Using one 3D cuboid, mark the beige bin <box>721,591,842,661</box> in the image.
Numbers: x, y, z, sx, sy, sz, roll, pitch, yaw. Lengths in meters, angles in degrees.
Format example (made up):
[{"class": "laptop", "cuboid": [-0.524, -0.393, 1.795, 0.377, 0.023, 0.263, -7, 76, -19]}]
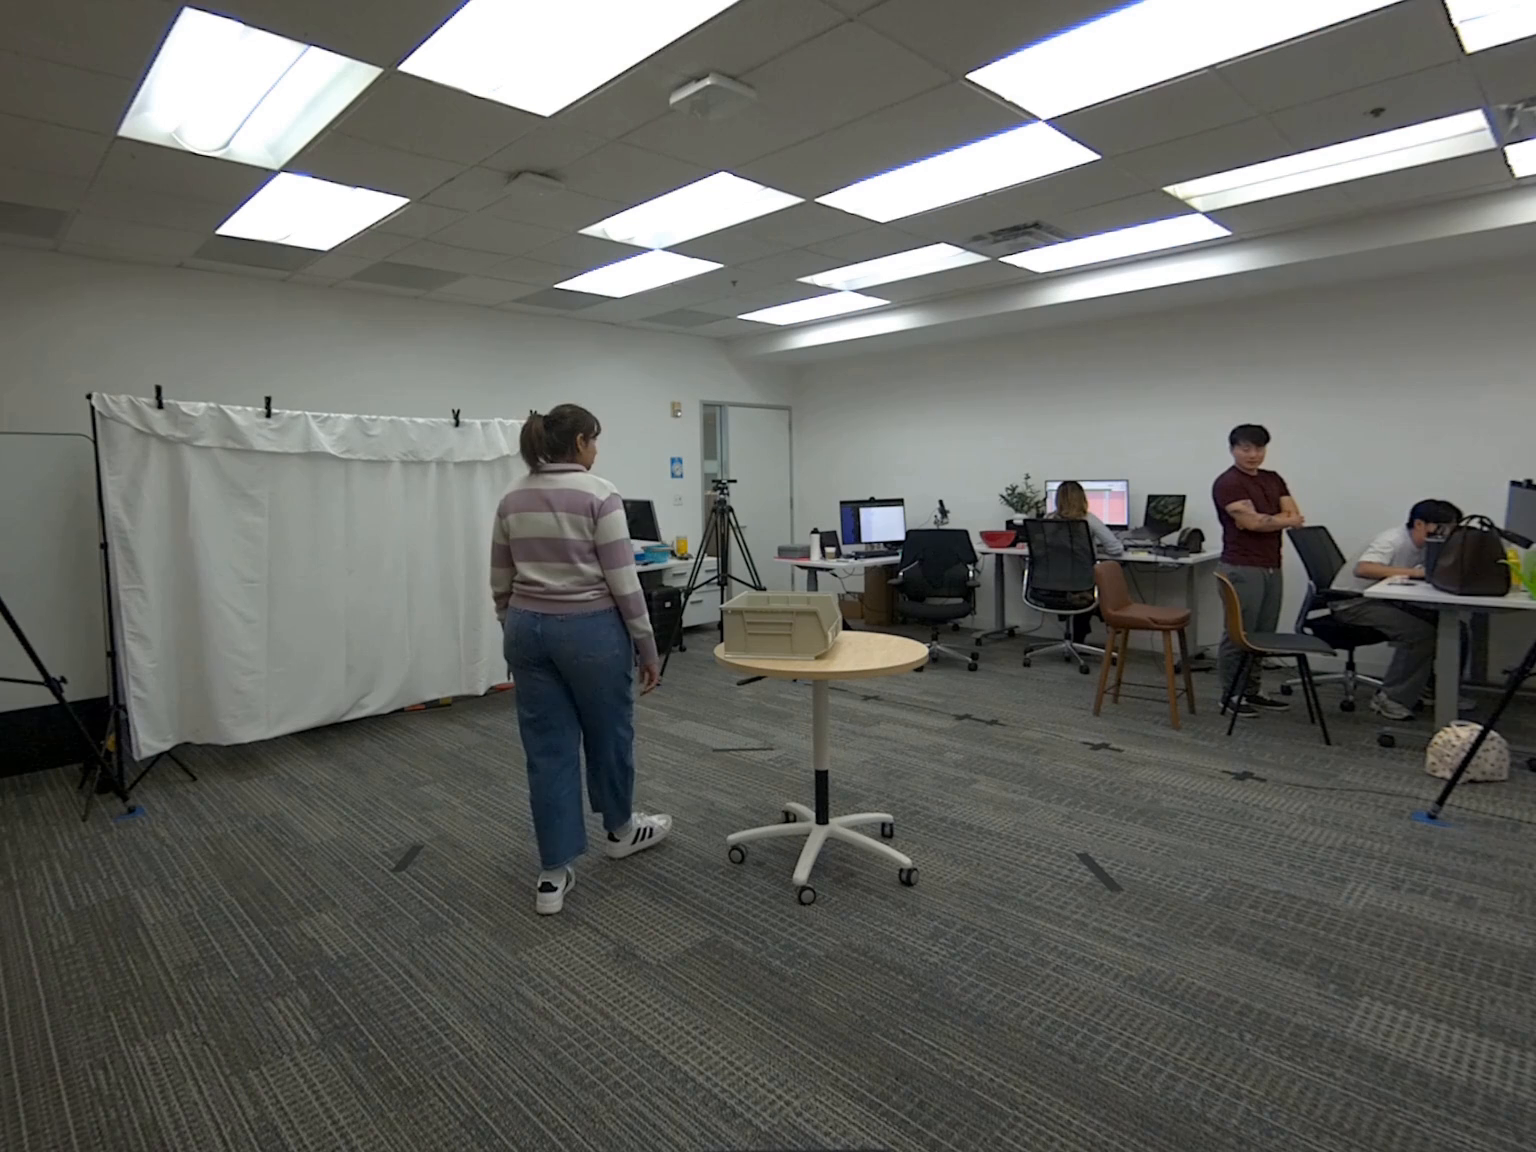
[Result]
[{"class": "beige bin", "cuboid": [0.057, 0.173, 3.100, 0.382, 0.188, 0.419, -1, 6, 12]}]
